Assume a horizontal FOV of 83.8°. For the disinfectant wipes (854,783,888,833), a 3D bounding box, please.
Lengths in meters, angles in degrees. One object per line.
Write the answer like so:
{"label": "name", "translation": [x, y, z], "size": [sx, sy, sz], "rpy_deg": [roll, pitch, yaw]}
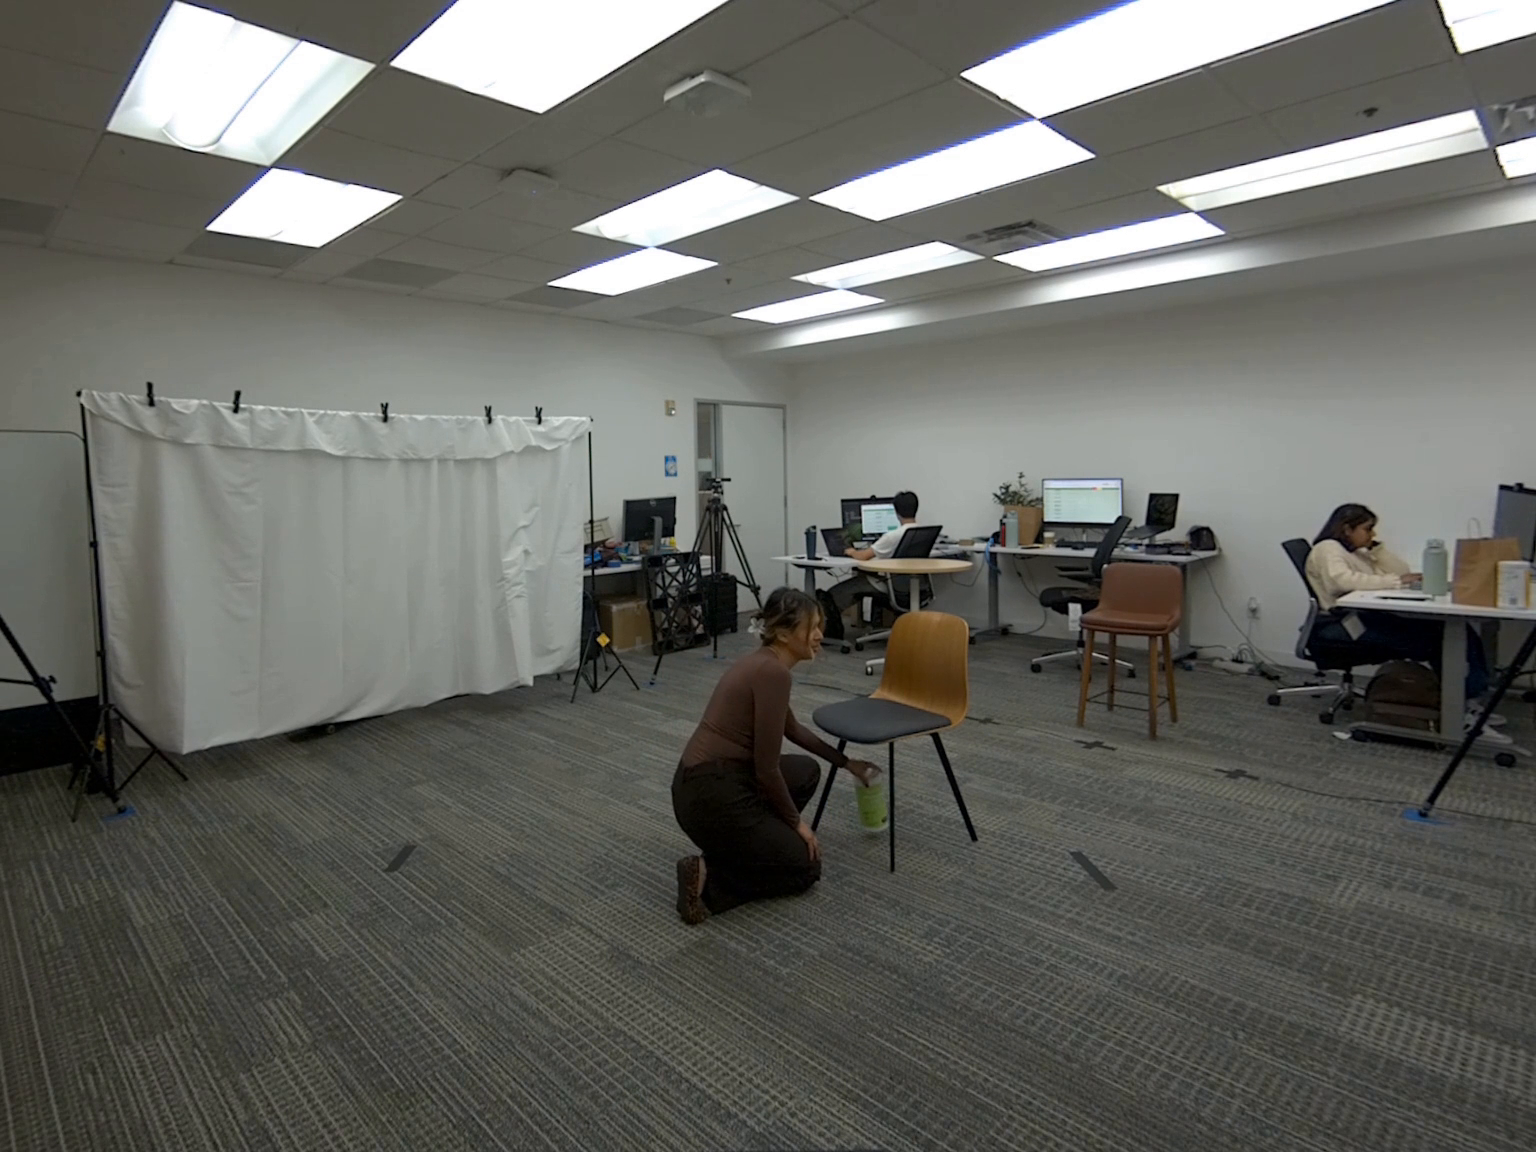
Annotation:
{"label": "disinfectant wipes", "translation": [0.405, 0.876, 3.305], "size": [0.118, 0.216, 0.118], "rpy_deg": [-10, 6, 0]}
